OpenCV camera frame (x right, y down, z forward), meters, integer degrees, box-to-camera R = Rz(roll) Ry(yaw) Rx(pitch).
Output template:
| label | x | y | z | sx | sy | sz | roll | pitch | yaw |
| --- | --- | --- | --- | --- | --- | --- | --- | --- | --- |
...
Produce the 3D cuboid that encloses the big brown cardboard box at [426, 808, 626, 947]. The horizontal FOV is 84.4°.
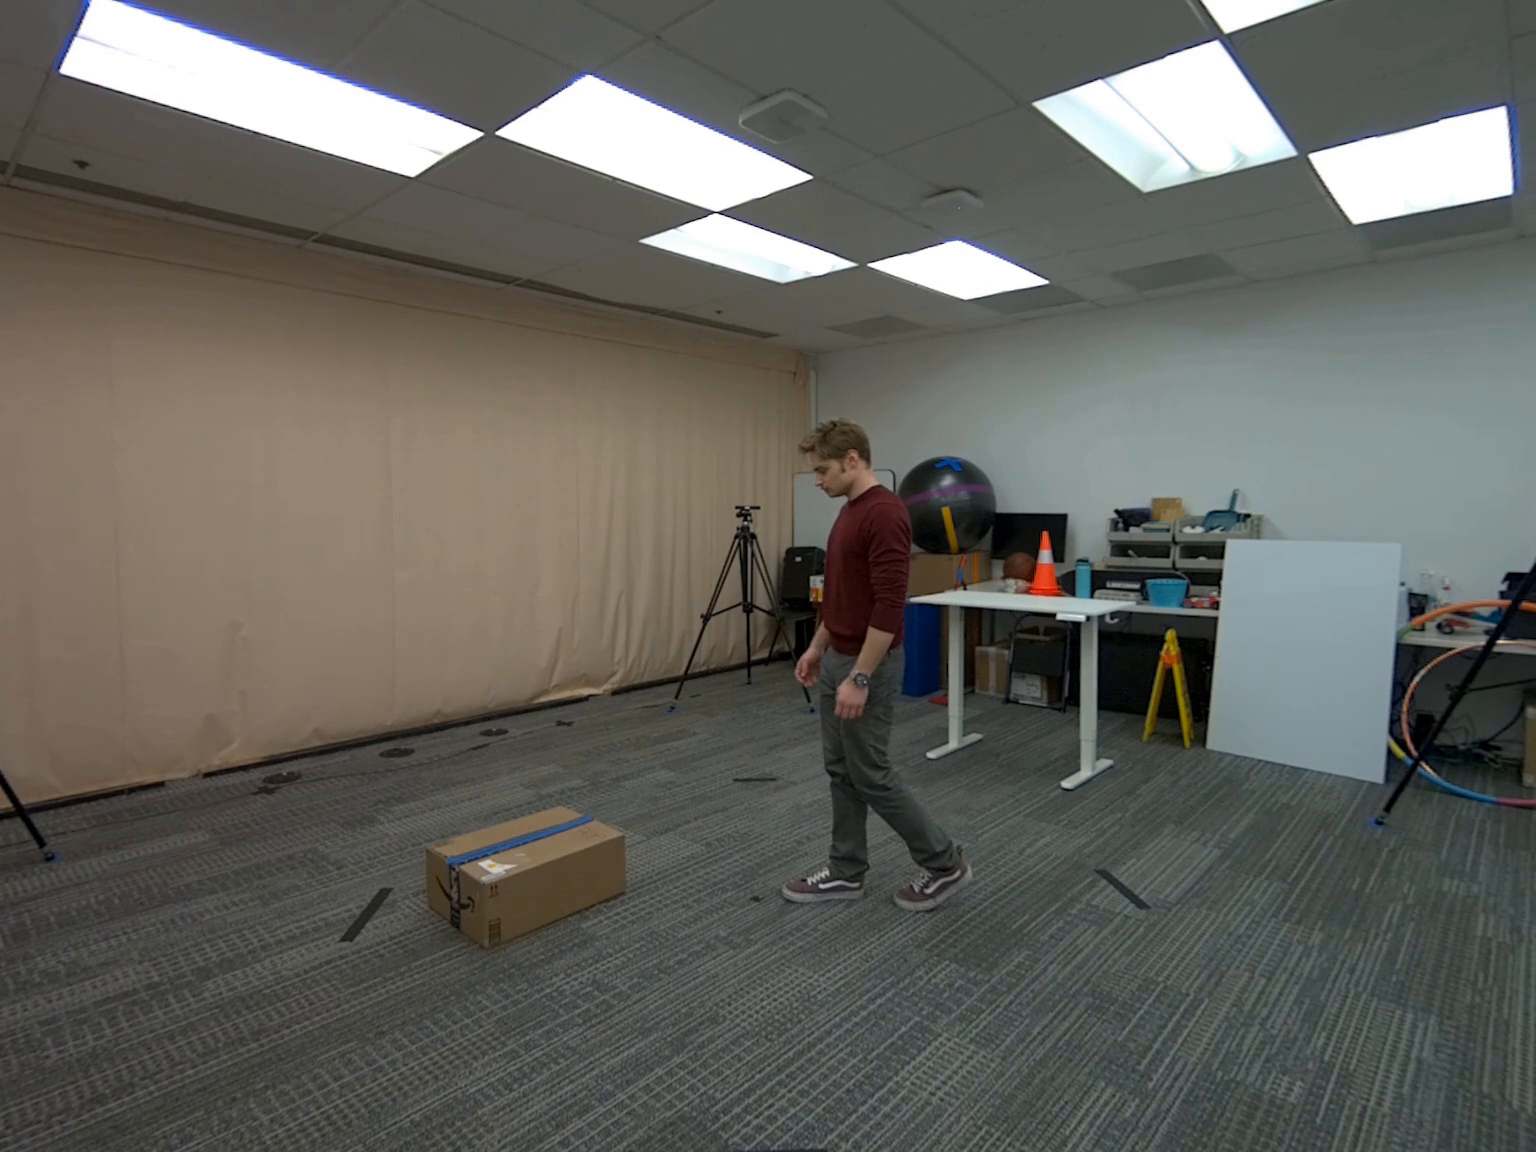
| label | x | y | z | sx | sy | sz | roll | pitch | yaw |
| --- | --- | --- | --- | --- | --- | --- | --- | --- | --- |
| big brown cardboard box | -0.851 | 1.036 | 2.988 | 0.431 | 0.233 | 0.571 | 3 | 5 | 44 |
